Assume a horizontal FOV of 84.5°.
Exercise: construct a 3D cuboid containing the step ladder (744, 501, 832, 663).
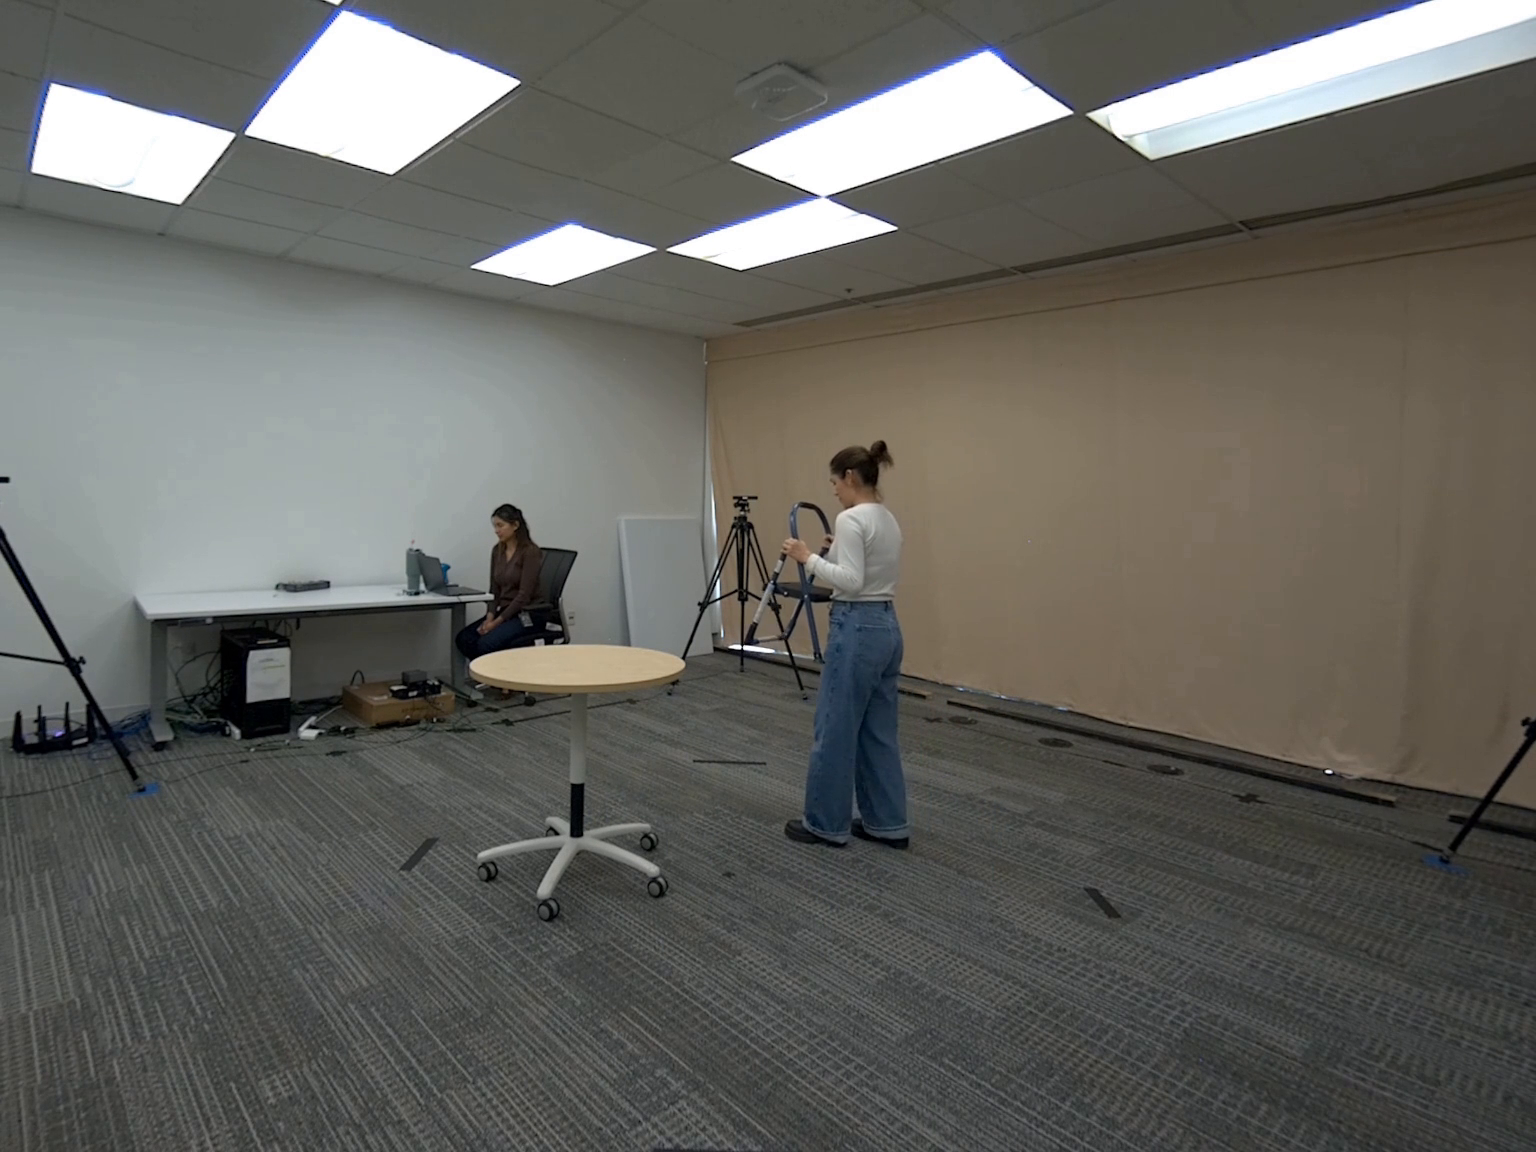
[{"bbox_3d":[0.180,0.005,3.477,0.357,0.605,0.422,10,3,25],"label":"step ladder"}]
